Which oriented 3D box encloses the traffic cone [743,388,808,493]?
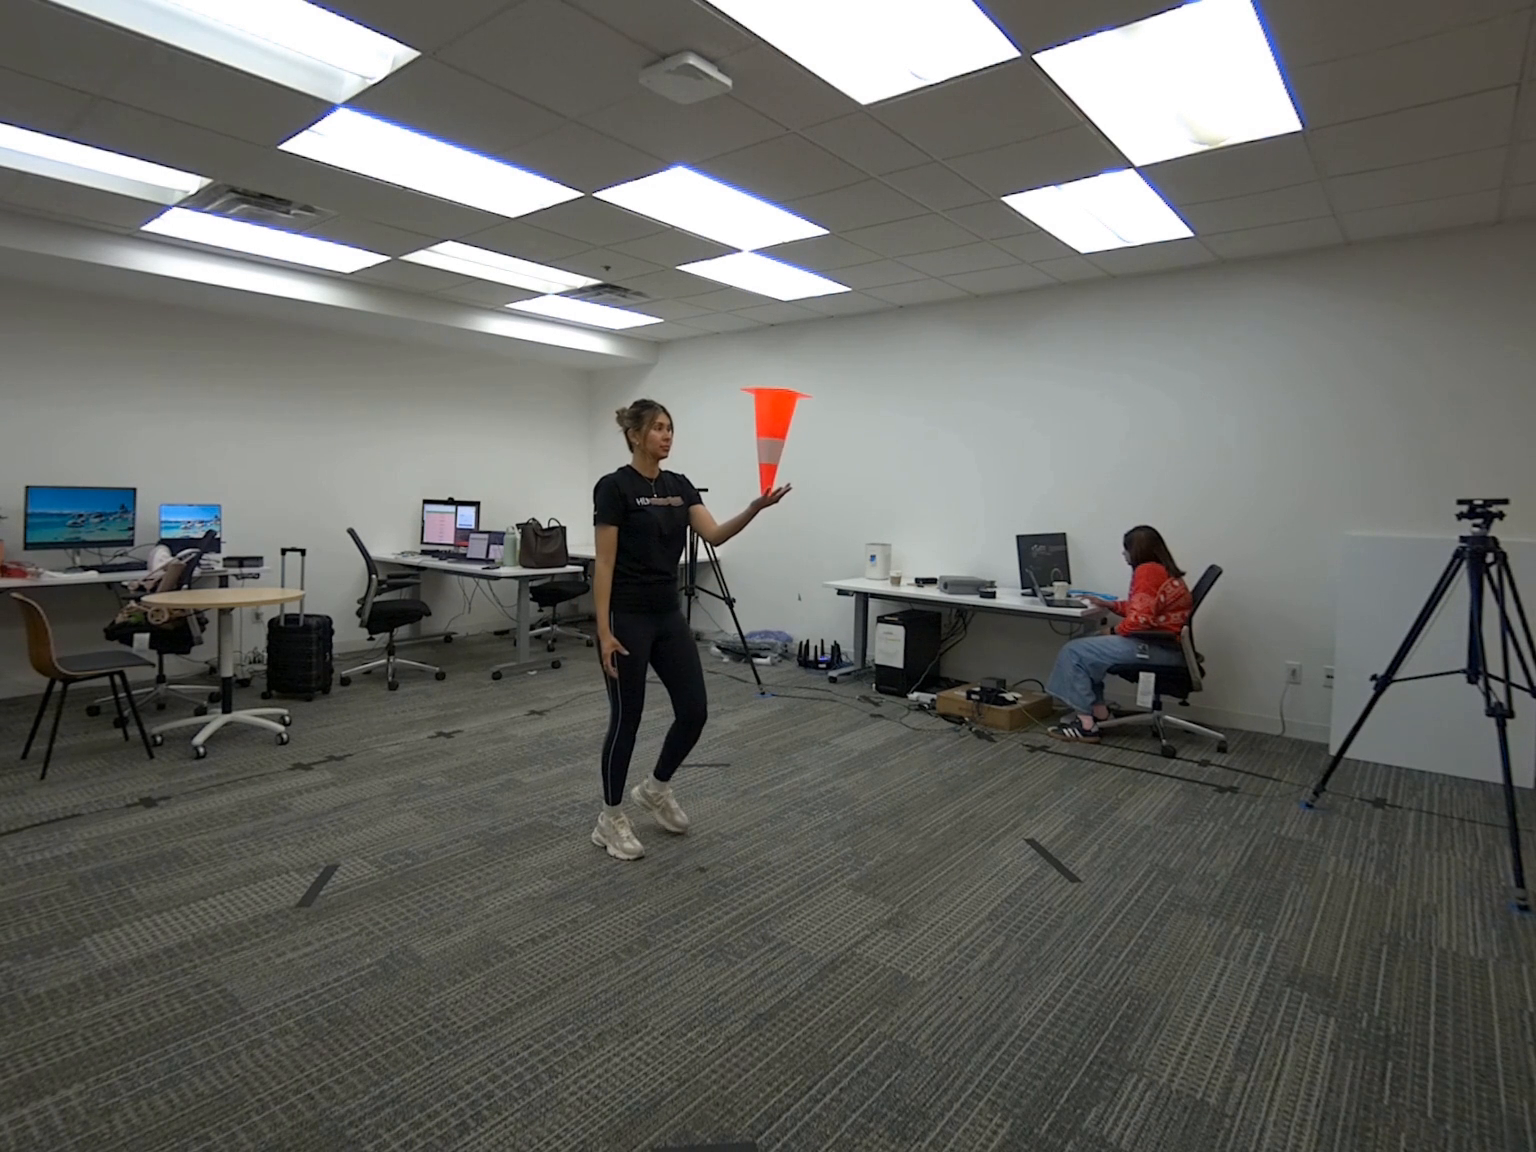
[{"bbox_3d":[0.011,-0.467,3.036,0.212,0.384,0.196,5,1,40],"label":"traffic cone"}]
